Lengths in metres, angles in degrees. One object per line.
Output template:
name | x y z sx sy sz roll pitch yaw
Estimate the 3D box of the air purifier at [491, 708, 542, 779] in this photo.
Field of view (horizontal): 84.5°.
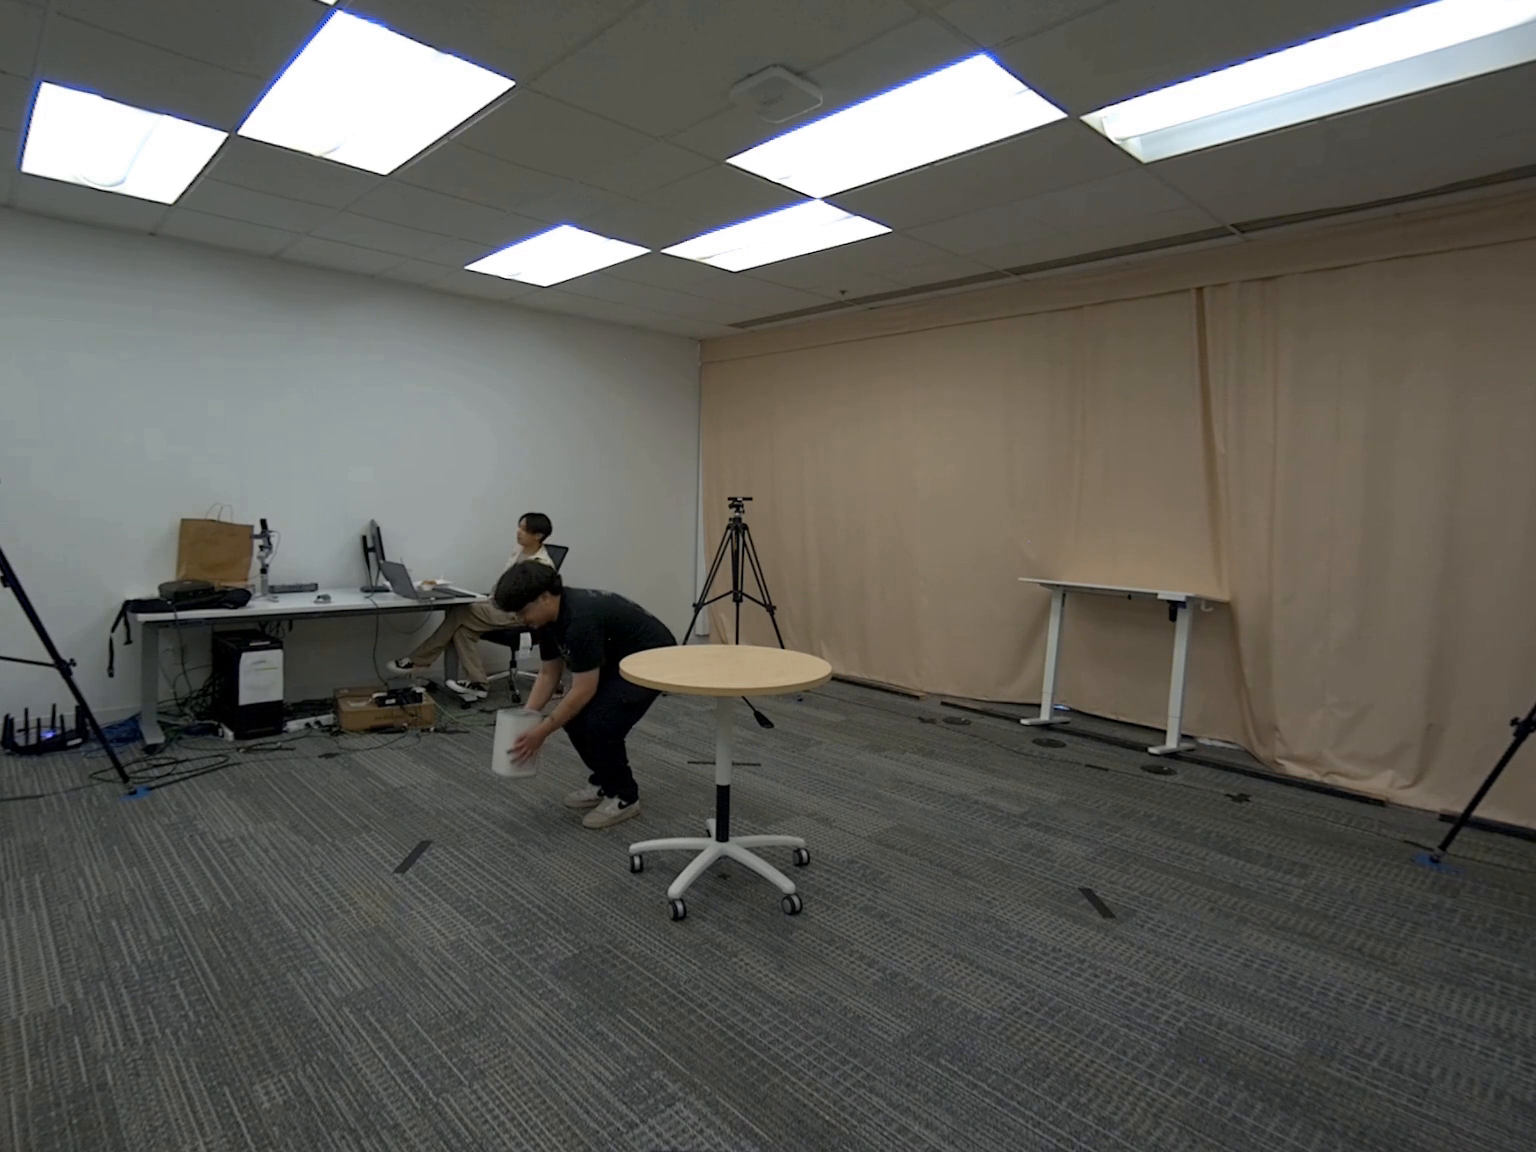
air purifier | -1.058 0.691 3.541 0.167 0.266 0.175 8 -5 -40
